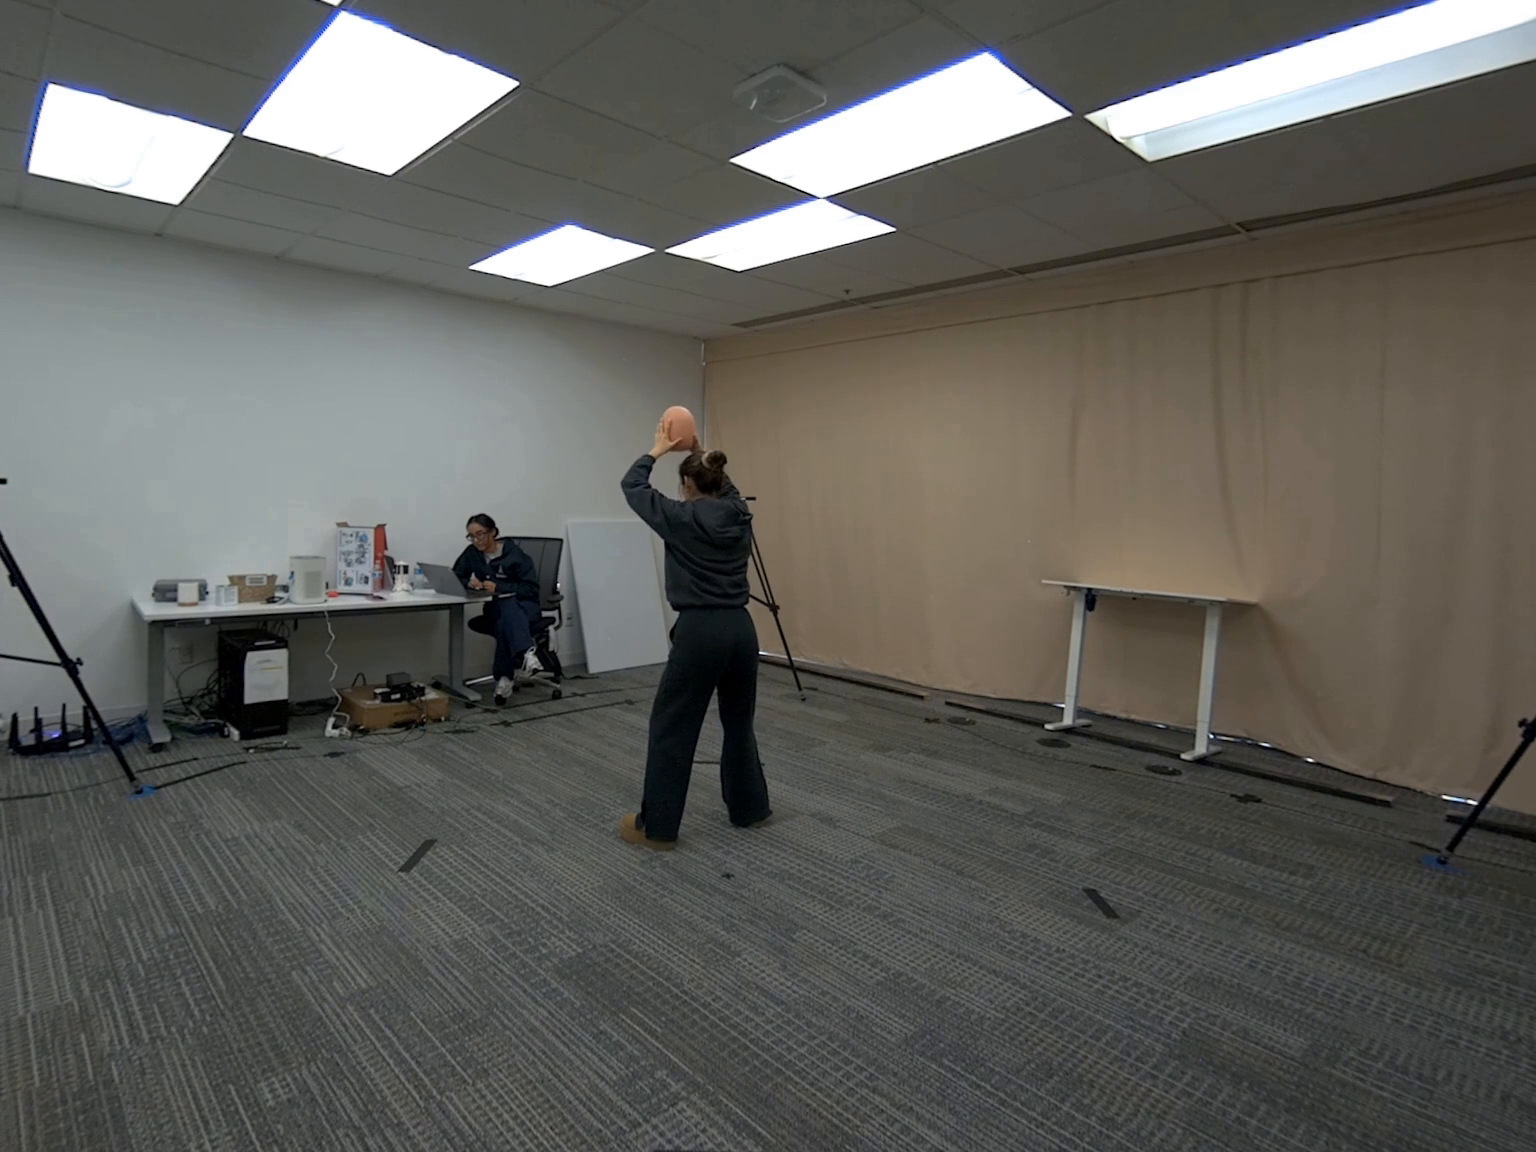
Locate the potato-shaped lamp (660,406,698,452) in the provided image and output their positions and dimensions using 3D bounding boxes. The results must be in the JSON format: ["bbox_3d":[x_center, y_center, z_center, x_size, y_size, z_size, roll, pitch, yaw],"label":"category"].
[{"bbox_3d":[-0.420,-0.638,3.704,0.161,0.197,0.175,-2,5,-35],"label":"potato-shaped lamp"}]
